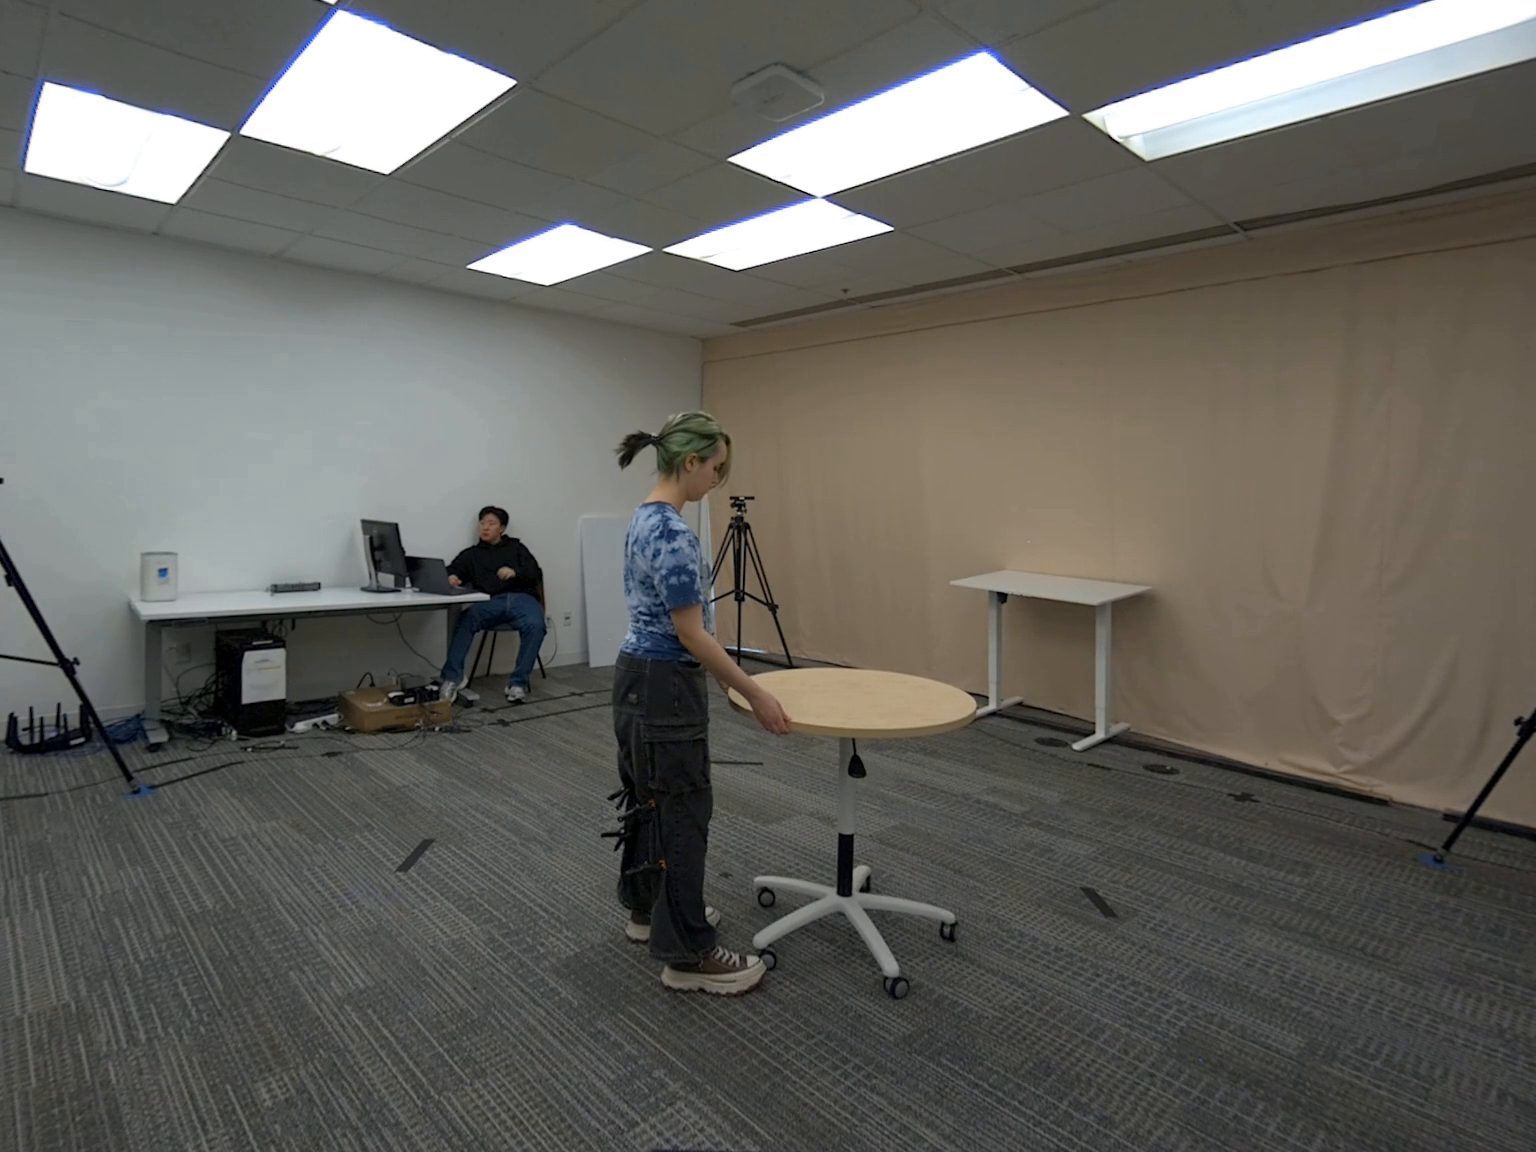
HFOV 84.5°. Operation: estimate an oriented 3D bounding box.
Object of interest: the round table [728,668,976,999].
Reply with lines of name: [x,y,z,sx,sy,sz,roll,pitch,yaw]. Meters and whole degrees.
round table: [0.246,0.764,2.671,0.763,0.791,0.767,1,5,-1]
